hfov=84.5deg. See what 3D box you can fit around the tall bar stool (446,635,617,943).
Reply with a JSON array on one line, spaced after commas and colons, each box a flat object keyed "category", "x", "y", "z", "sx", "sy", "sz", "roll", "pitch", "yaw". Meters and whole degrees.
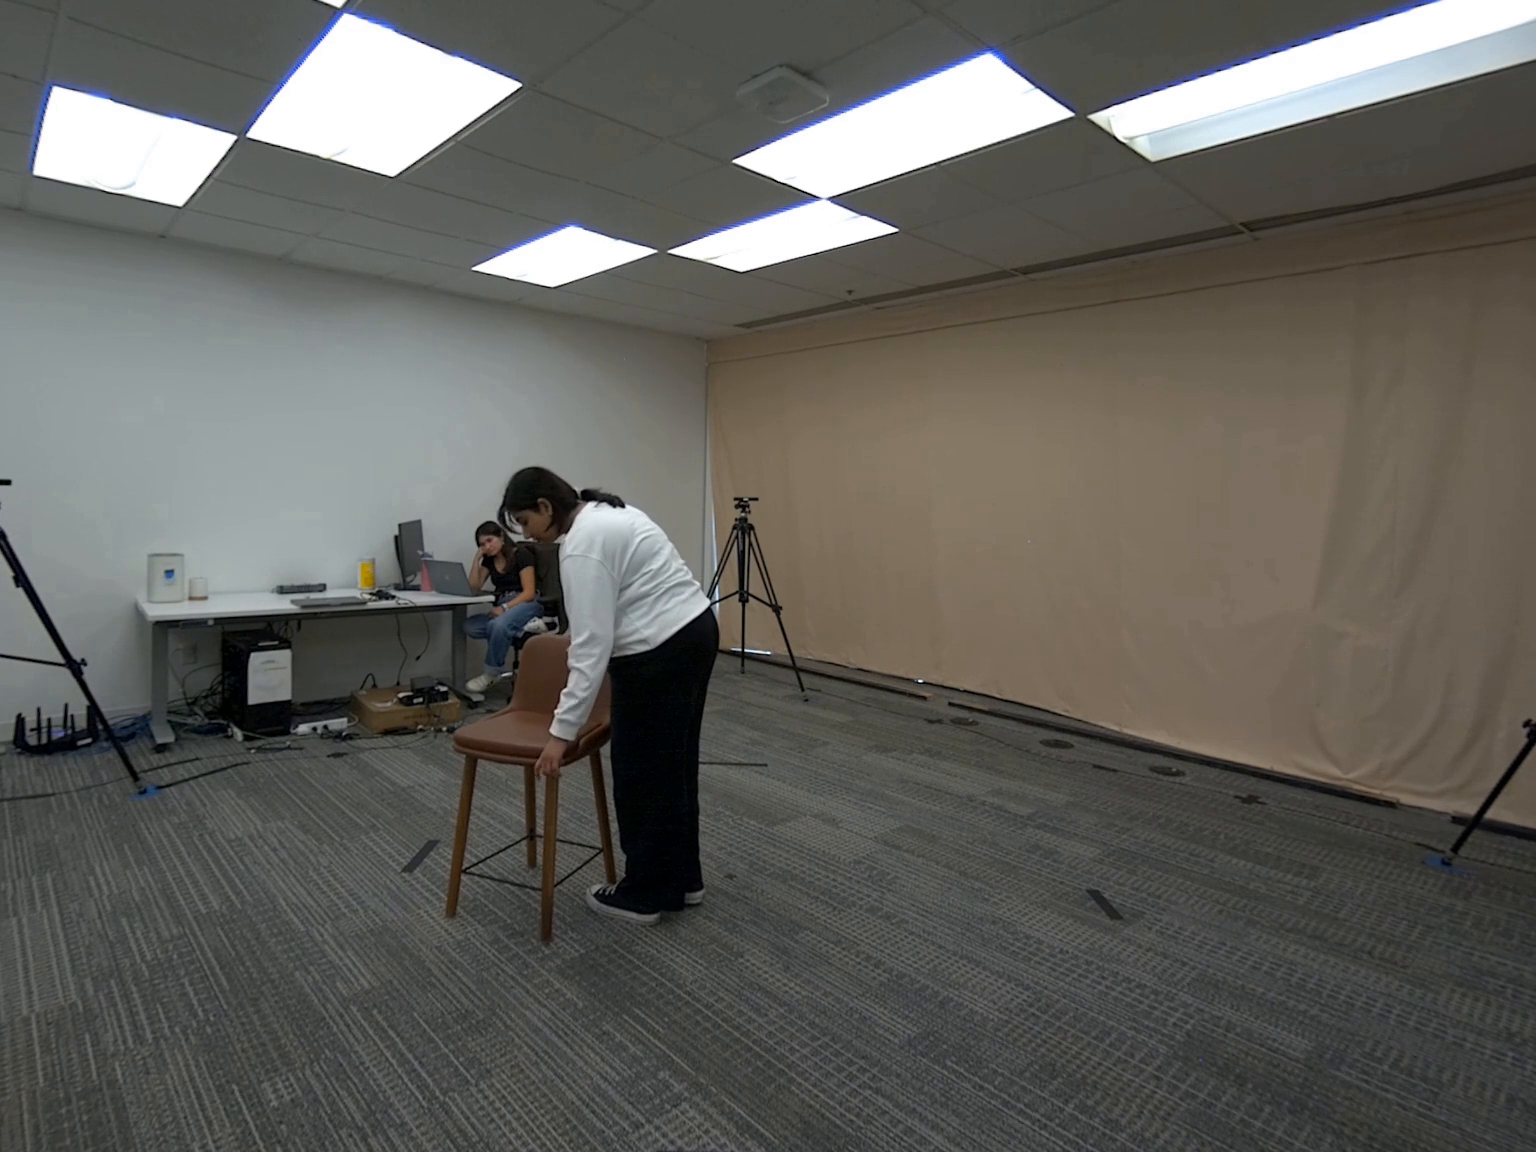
[{"category": "tall bar stool", "x": -0.784, "y": 0.673, "z": 2.876, "sx": 0.464, "sy": 0.889, "sz": 0.460, "roll": 2, "pitch": 2, "yaw": 22}]
